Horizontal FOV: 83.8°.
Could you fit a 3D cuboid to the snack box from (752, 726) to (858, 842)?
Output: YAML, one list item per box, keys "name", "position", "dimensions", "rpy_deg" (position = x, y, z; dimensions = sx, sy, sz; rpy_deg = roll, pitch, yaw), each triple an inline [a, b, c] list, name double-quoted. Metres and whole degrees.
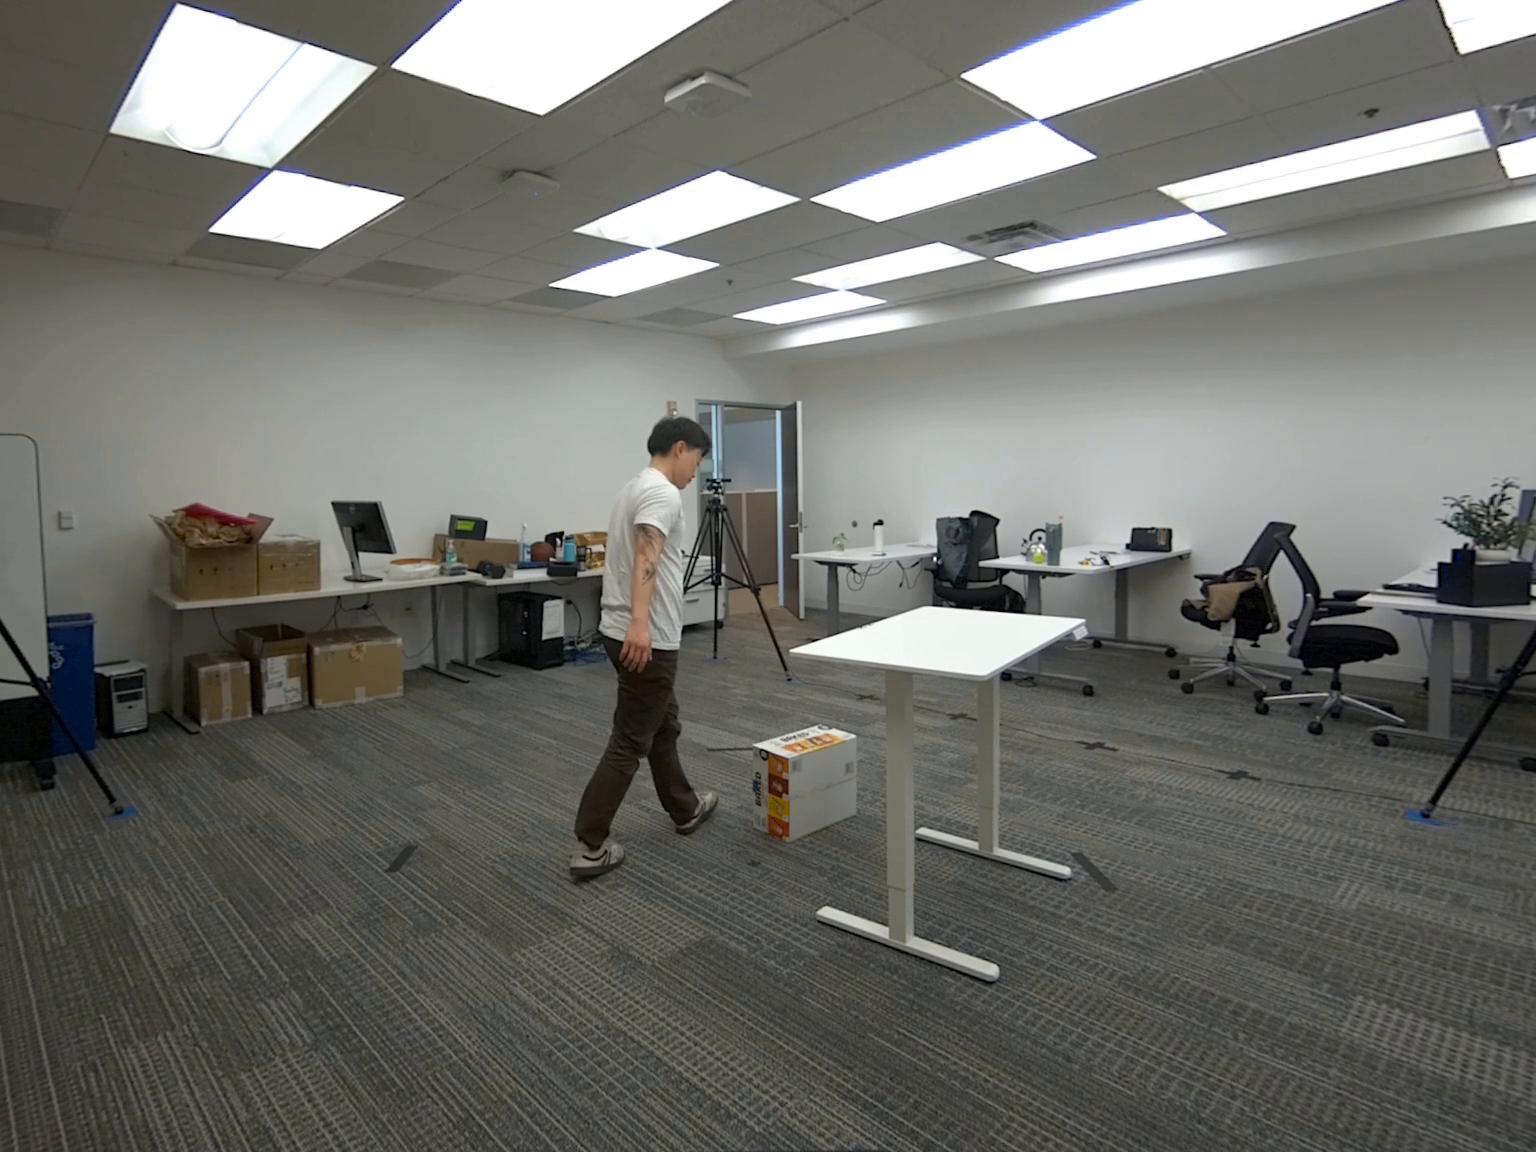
- name: "snack box"
  position: [0.156, 0.833, 3.469]
  dimensions: [0.394, 0.338, 0.212]
  rpy_deg: [-6, 8, -42]
